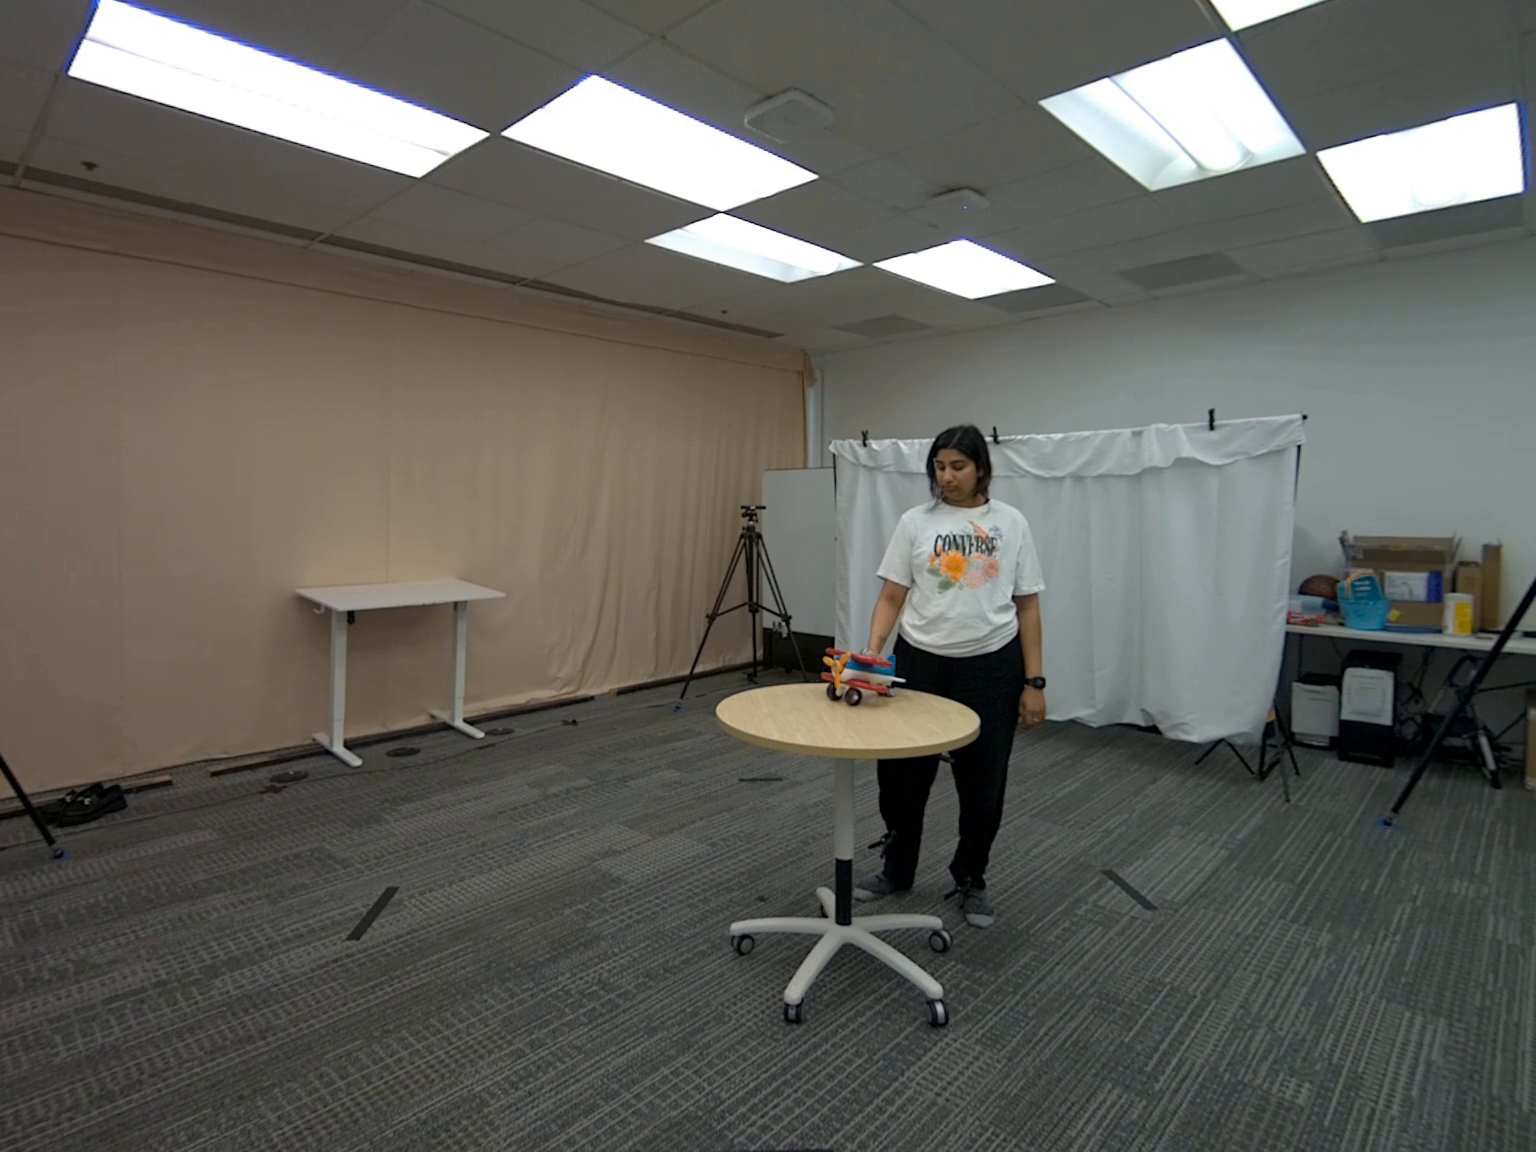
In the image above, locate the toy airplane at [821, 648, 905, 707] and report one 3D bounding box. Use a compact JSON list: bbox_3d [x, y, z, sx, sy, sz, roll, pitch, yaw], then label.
[{"bbox_3d":[0.292,0.313,2.653,0.258,0.156,0.253,2,5,27],"label":"toy airplane"}]
